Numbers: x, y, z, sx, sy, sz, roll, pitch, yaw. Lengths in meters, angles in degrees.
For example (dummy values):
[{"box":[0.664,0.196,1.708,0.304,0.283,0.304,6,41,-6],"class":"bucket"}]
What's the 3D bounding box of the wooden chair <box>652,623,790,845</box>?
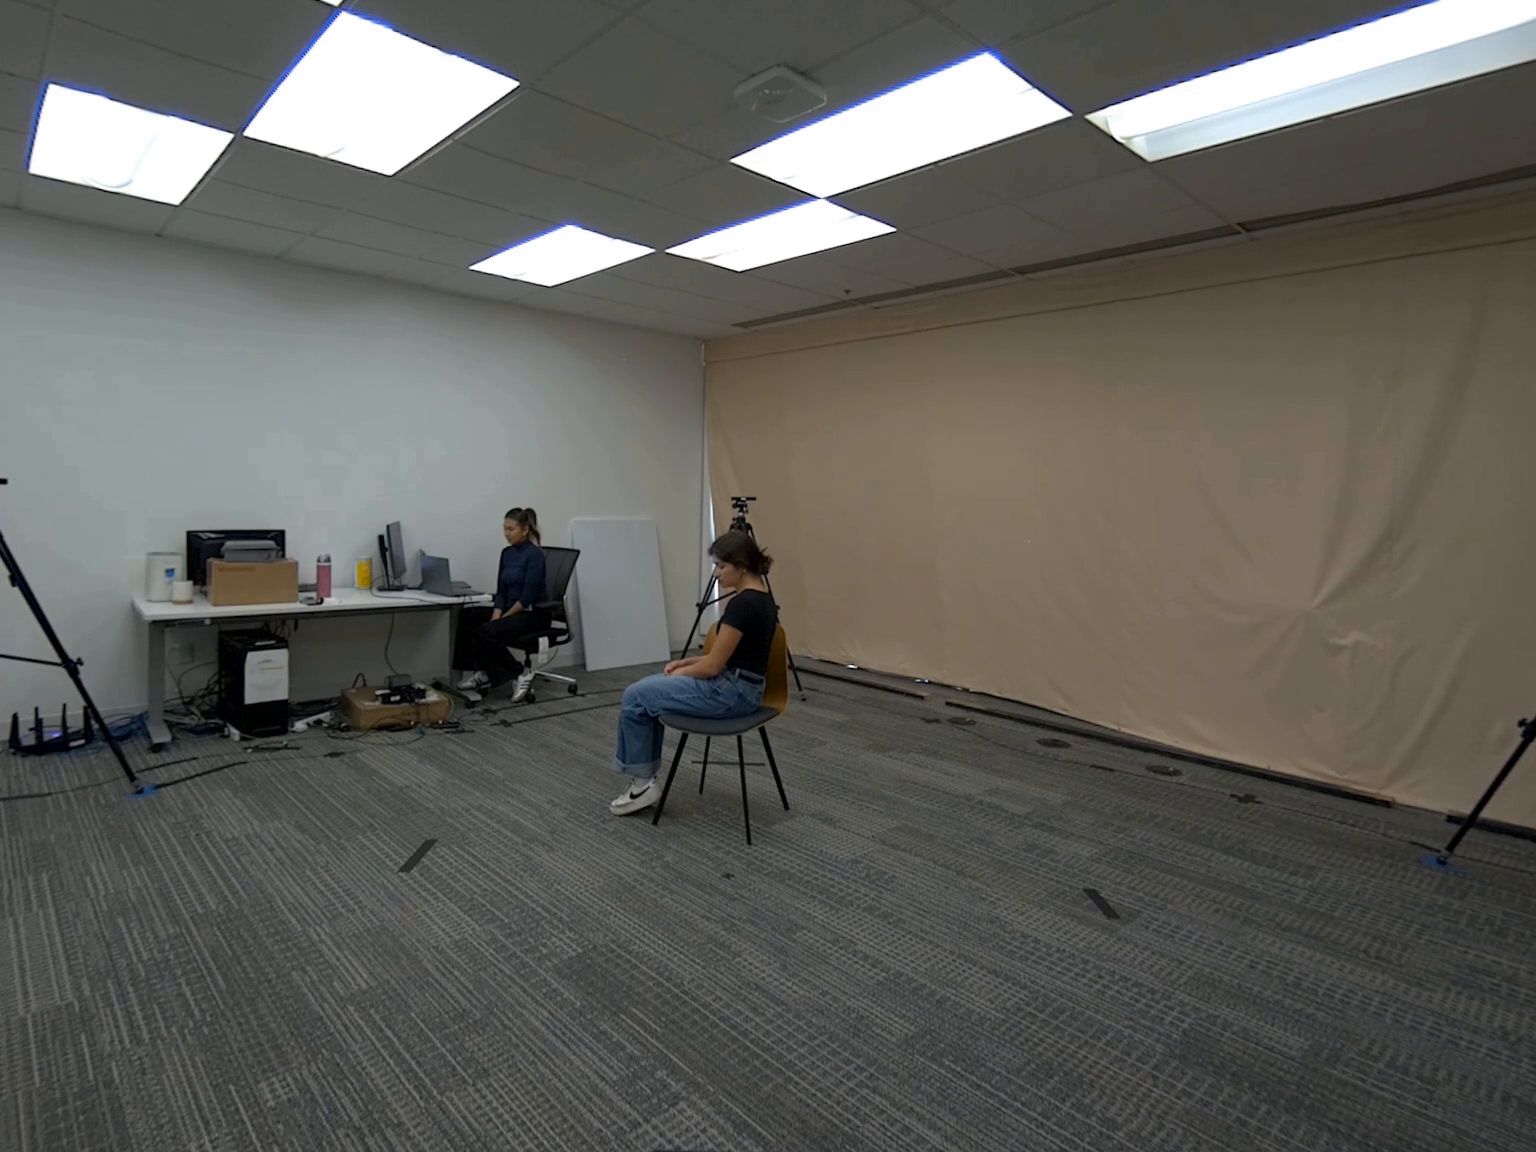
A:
[{"box":[-0.189,0.633,3.650,0.487,0.878,0.513,2,-1,23],"class":"wooden chair"}]
